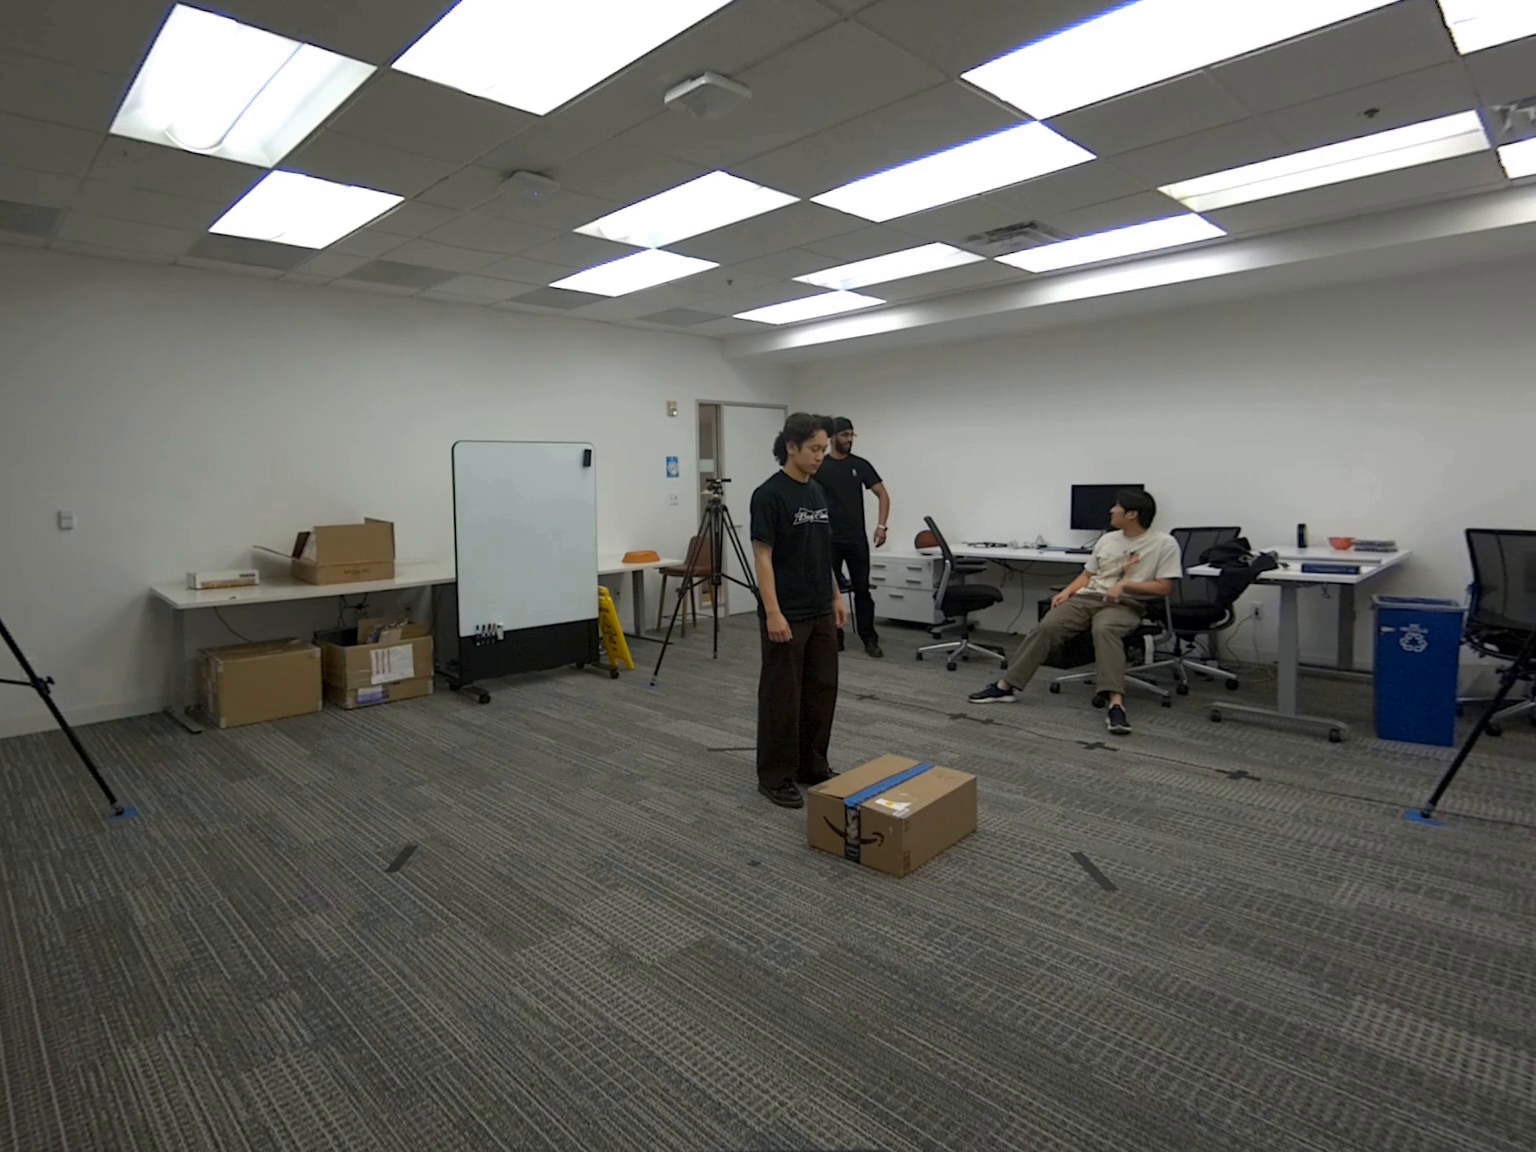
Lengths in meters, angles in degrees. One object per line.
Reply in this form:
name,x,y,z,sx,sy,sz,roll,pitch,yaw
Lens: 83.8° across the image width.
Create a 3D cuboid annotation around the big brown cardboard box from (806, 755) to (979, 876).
big brown cardboard box,0.479,0.900,3.297,0.430,0.232,0.573,4,6,41
